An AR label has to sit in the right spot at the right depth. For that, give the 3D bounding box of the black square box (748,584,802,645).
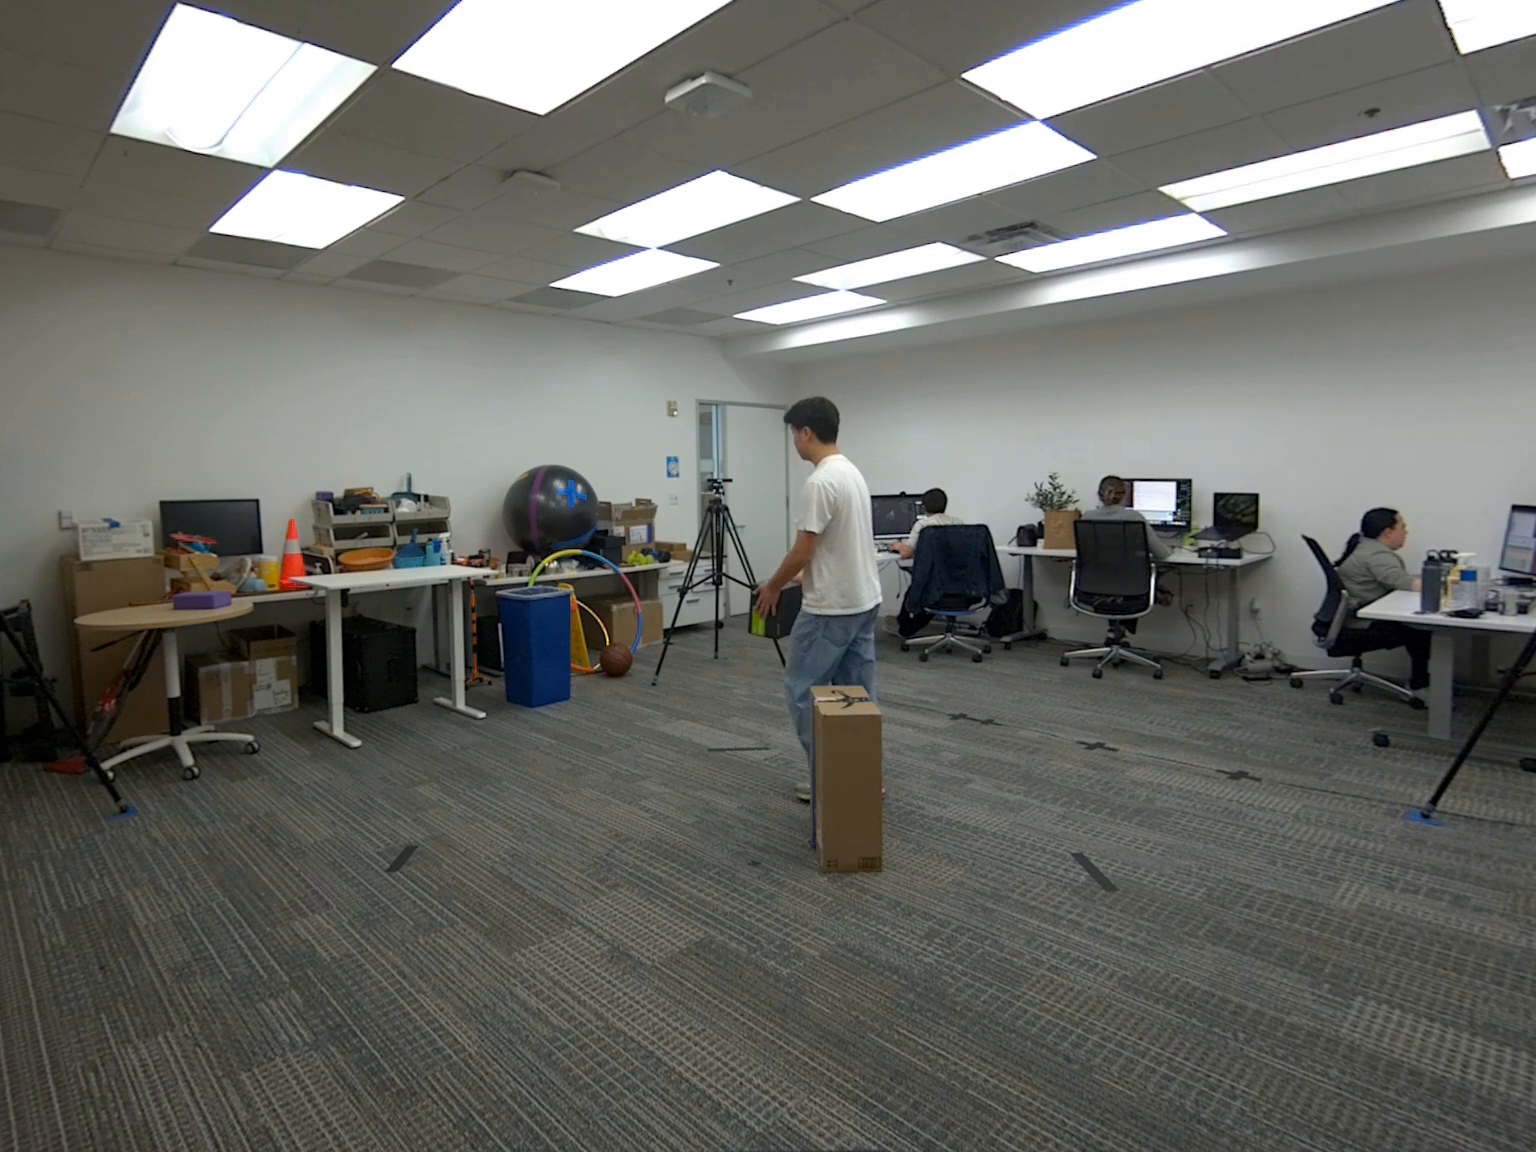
[{"bbox_3d":[0.038,0.146,3.876,0.160,0.226,0.213,6,11,27],"label":"black square box"}]
